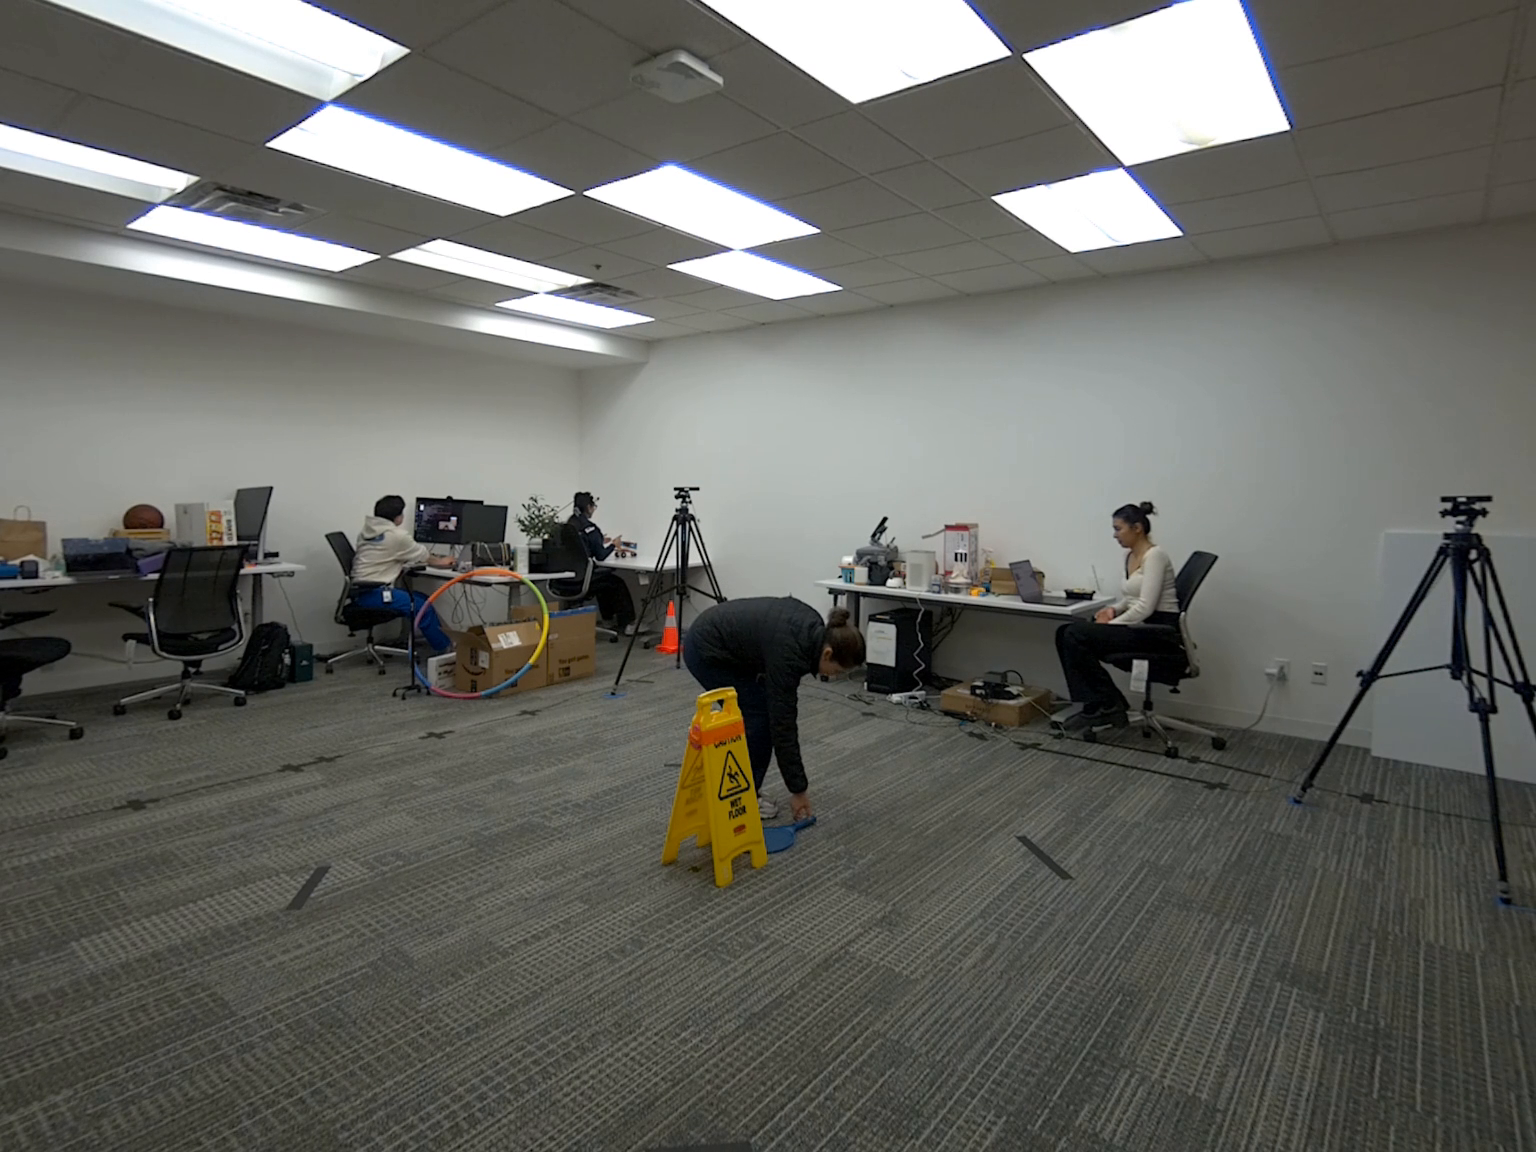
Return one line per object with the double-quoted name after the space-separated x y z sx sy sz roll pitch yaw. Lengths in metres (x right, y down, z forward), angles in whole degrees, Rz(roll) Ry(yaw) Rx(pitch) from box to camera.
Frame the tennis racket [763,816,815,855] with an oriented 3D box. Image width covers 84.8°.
0.043 1.020 3.417 0.221 0.031 0.420 8 11 43 "tennis racket"
